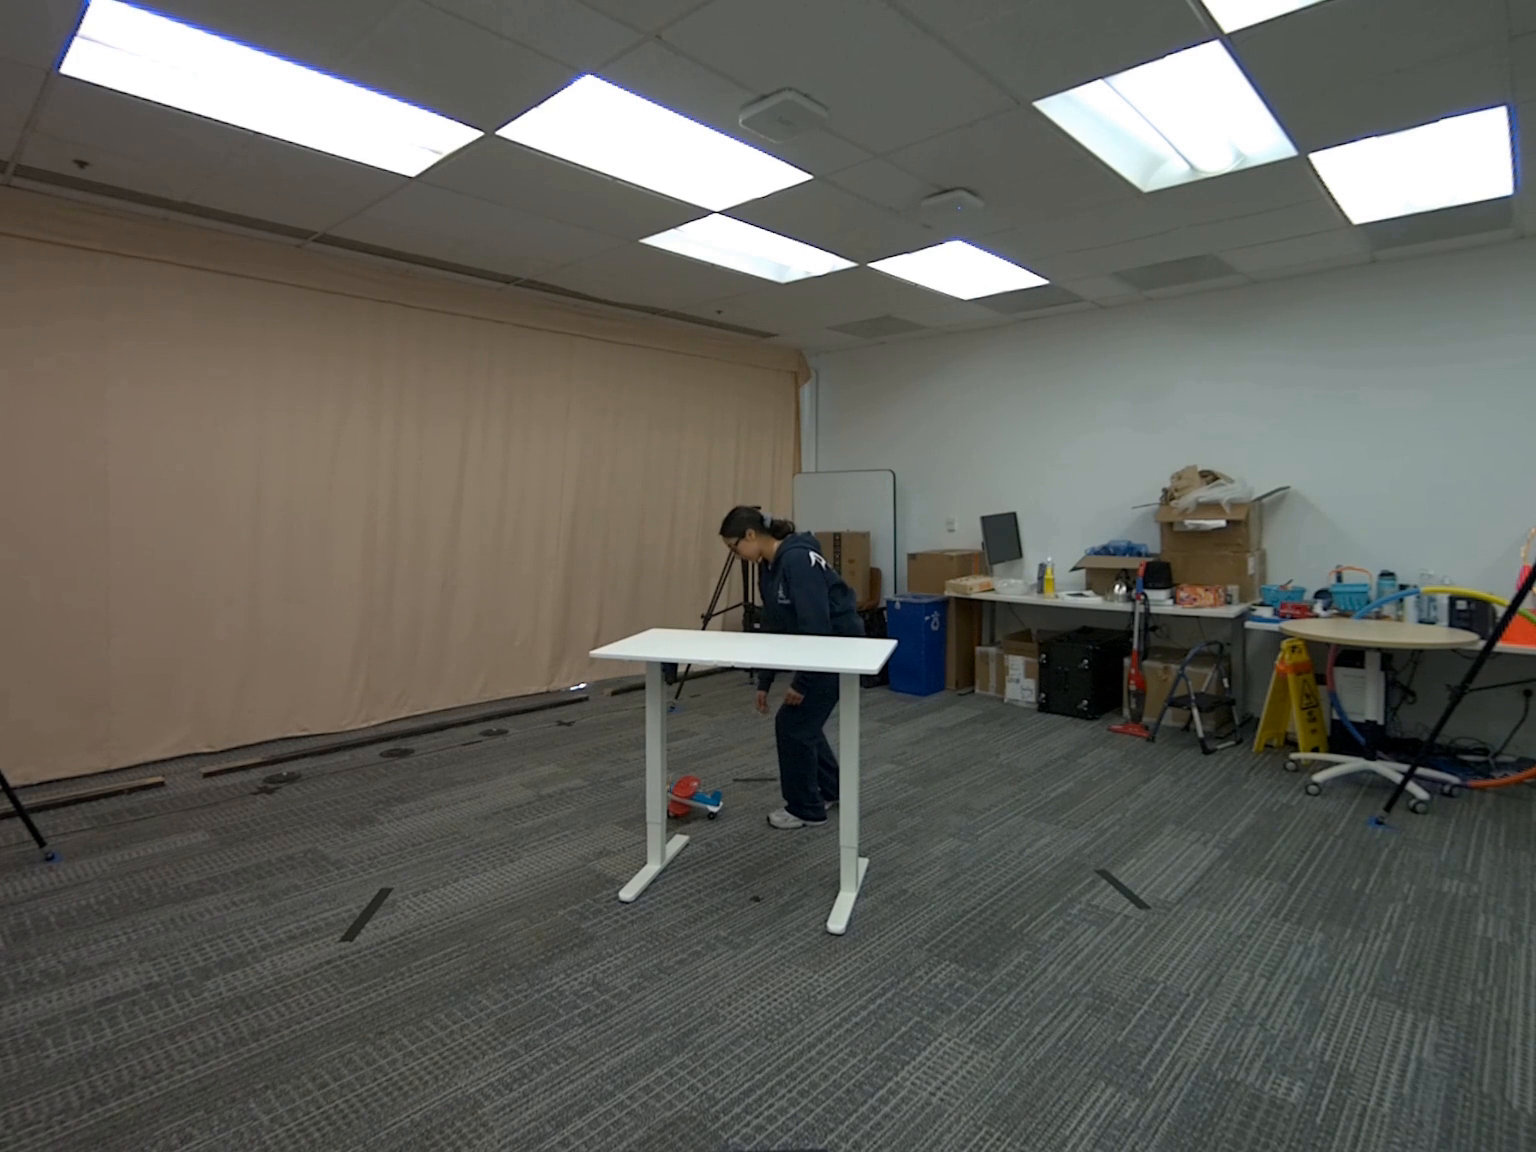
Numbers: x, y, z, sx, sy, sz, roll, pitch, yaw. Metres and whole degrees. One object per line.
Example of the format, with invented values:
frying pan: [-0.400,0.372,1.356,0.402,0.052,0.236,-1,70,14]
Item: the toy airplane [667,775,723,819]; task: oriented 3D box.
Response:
toy airplane: [-0.313,1.009,3.807,0.255,0.156,0.255,-4,4,-15]
